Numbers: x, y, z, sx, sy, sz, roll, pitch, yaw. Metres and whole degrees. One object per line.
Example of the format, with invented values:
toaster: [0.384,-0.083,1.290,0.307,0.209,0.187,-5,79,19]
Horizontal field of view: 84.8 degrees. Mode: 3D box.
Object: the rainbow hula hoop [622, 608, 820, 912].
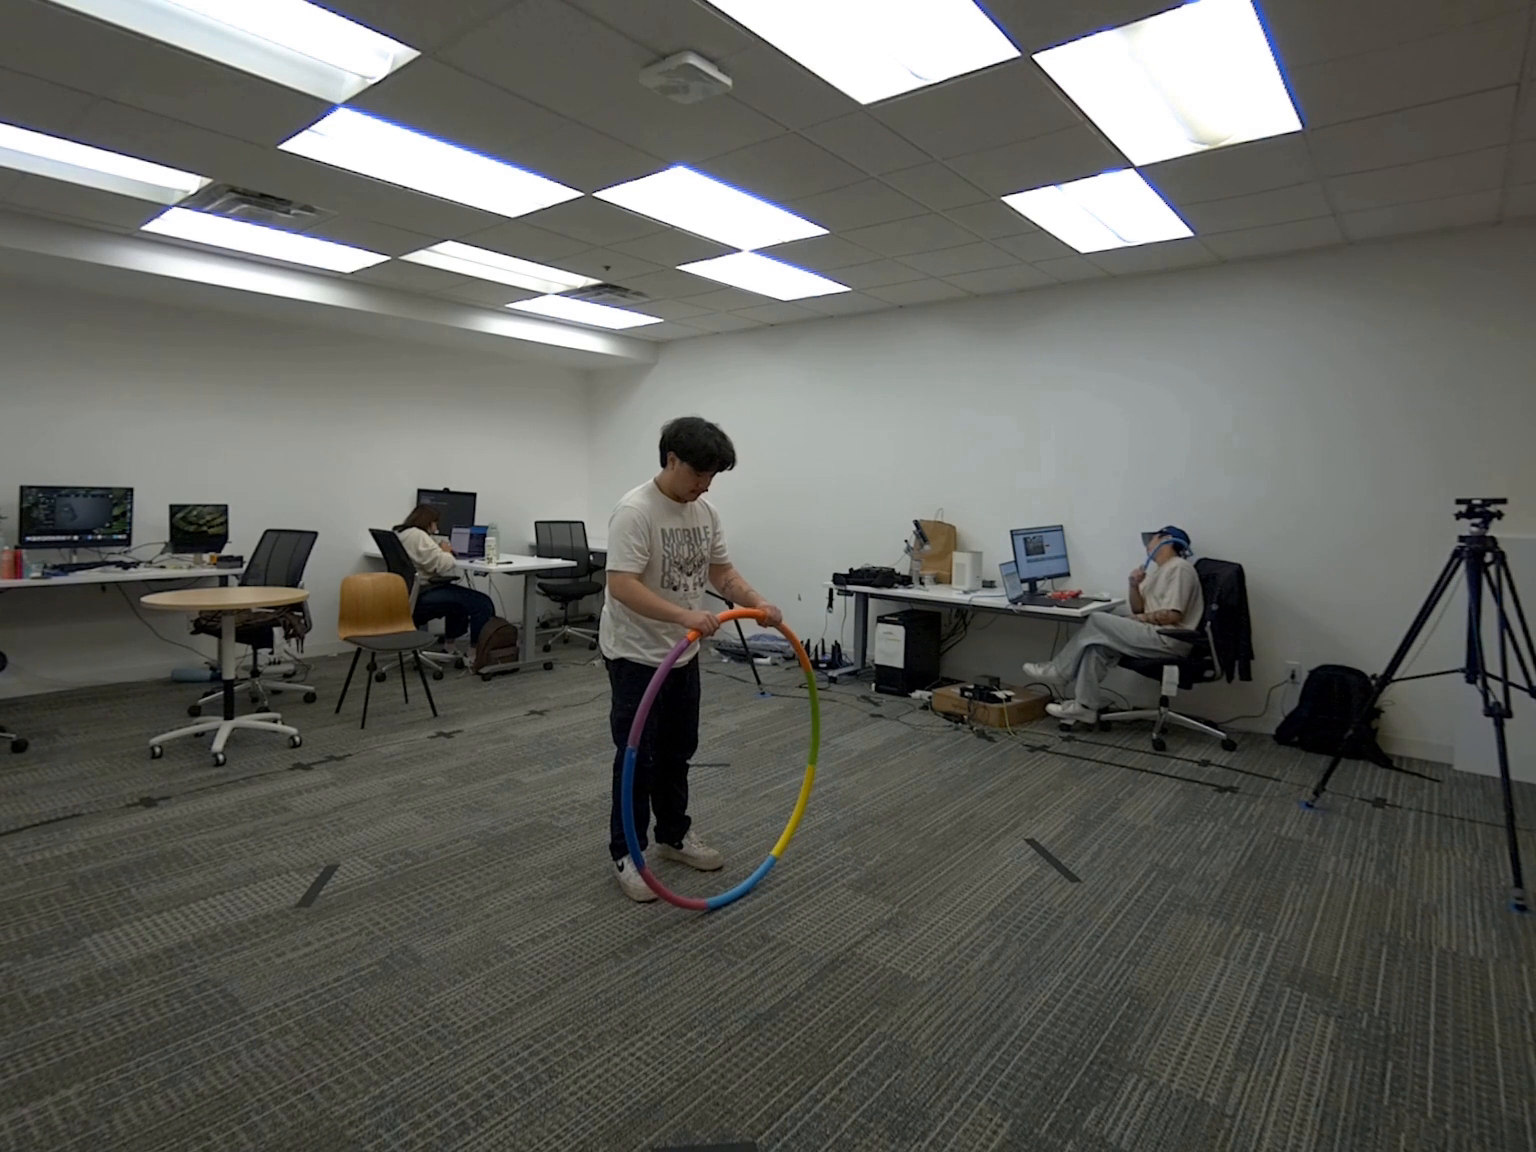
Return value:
rainbow hula hoop: [-0.126,0.602,2.845,0.053,0.983,0.956,3,4,41]
